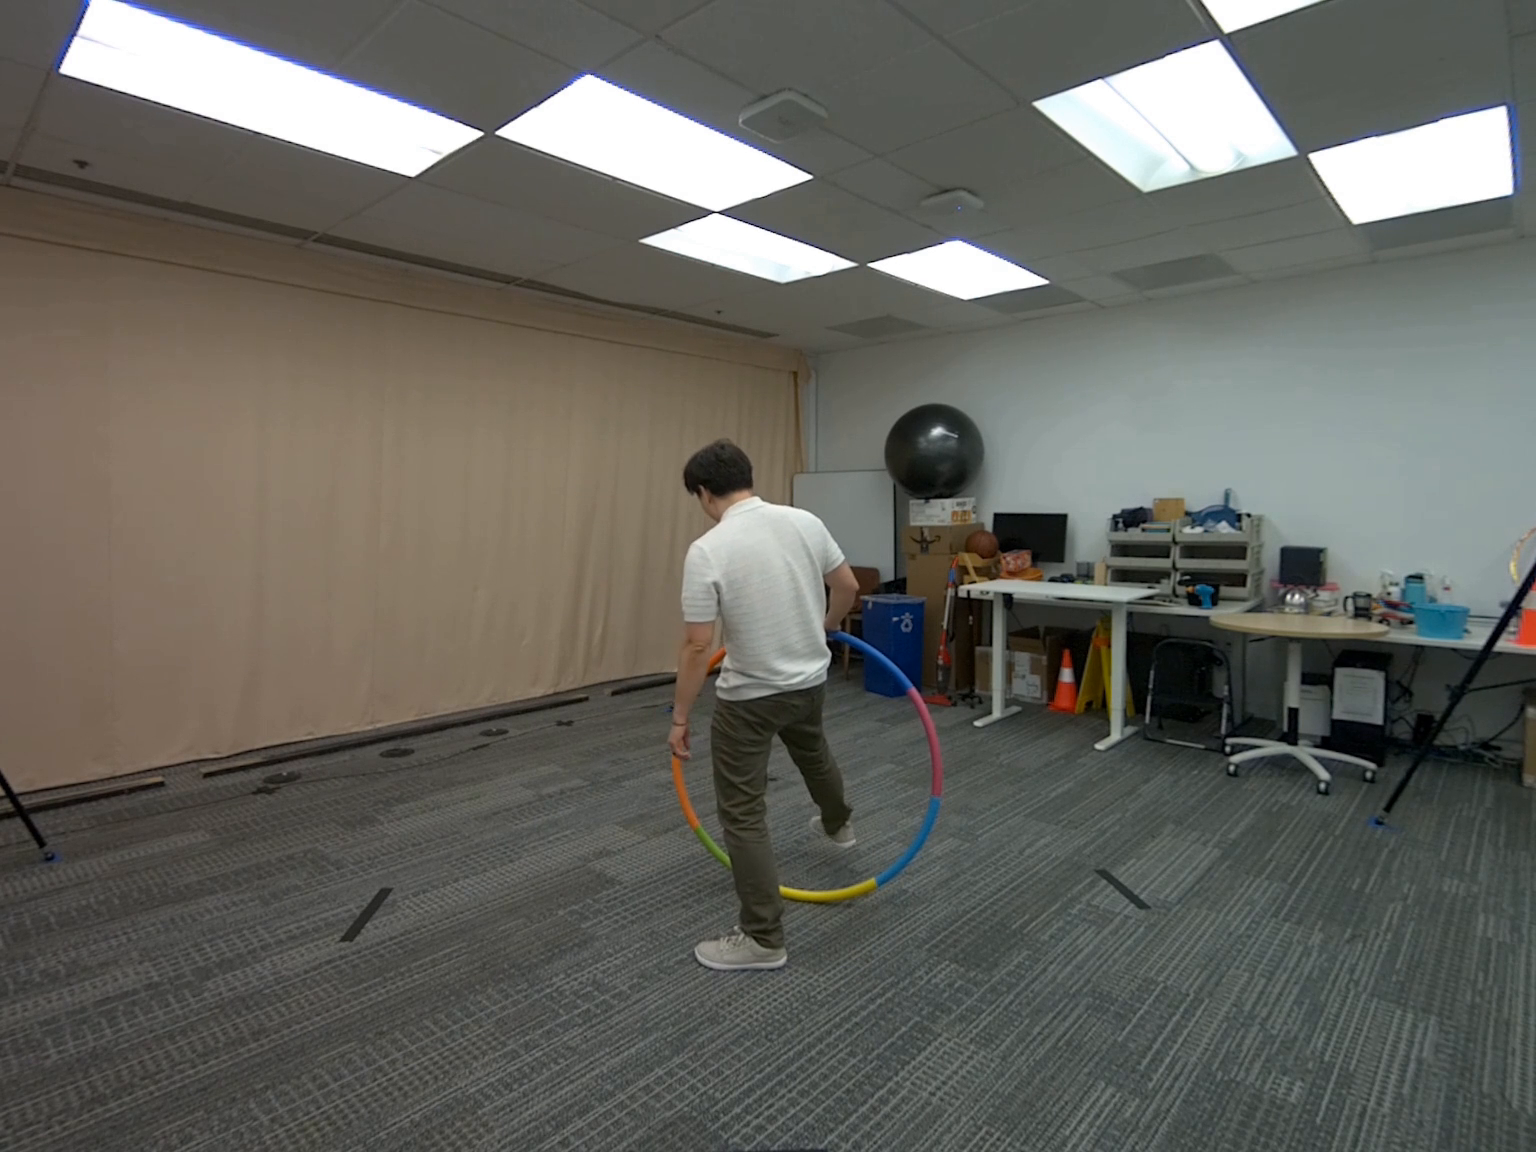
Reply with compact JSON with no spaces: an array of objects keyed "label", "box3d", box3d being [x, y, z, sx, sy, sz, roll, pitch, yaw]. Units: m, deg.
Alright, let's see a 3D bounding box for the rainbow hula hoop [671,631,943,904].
[{"label":"rainbow hula hoop","box3d":[0.118,0.663,3.014,1.000,0.981,0.035,1,-5,21]}]
